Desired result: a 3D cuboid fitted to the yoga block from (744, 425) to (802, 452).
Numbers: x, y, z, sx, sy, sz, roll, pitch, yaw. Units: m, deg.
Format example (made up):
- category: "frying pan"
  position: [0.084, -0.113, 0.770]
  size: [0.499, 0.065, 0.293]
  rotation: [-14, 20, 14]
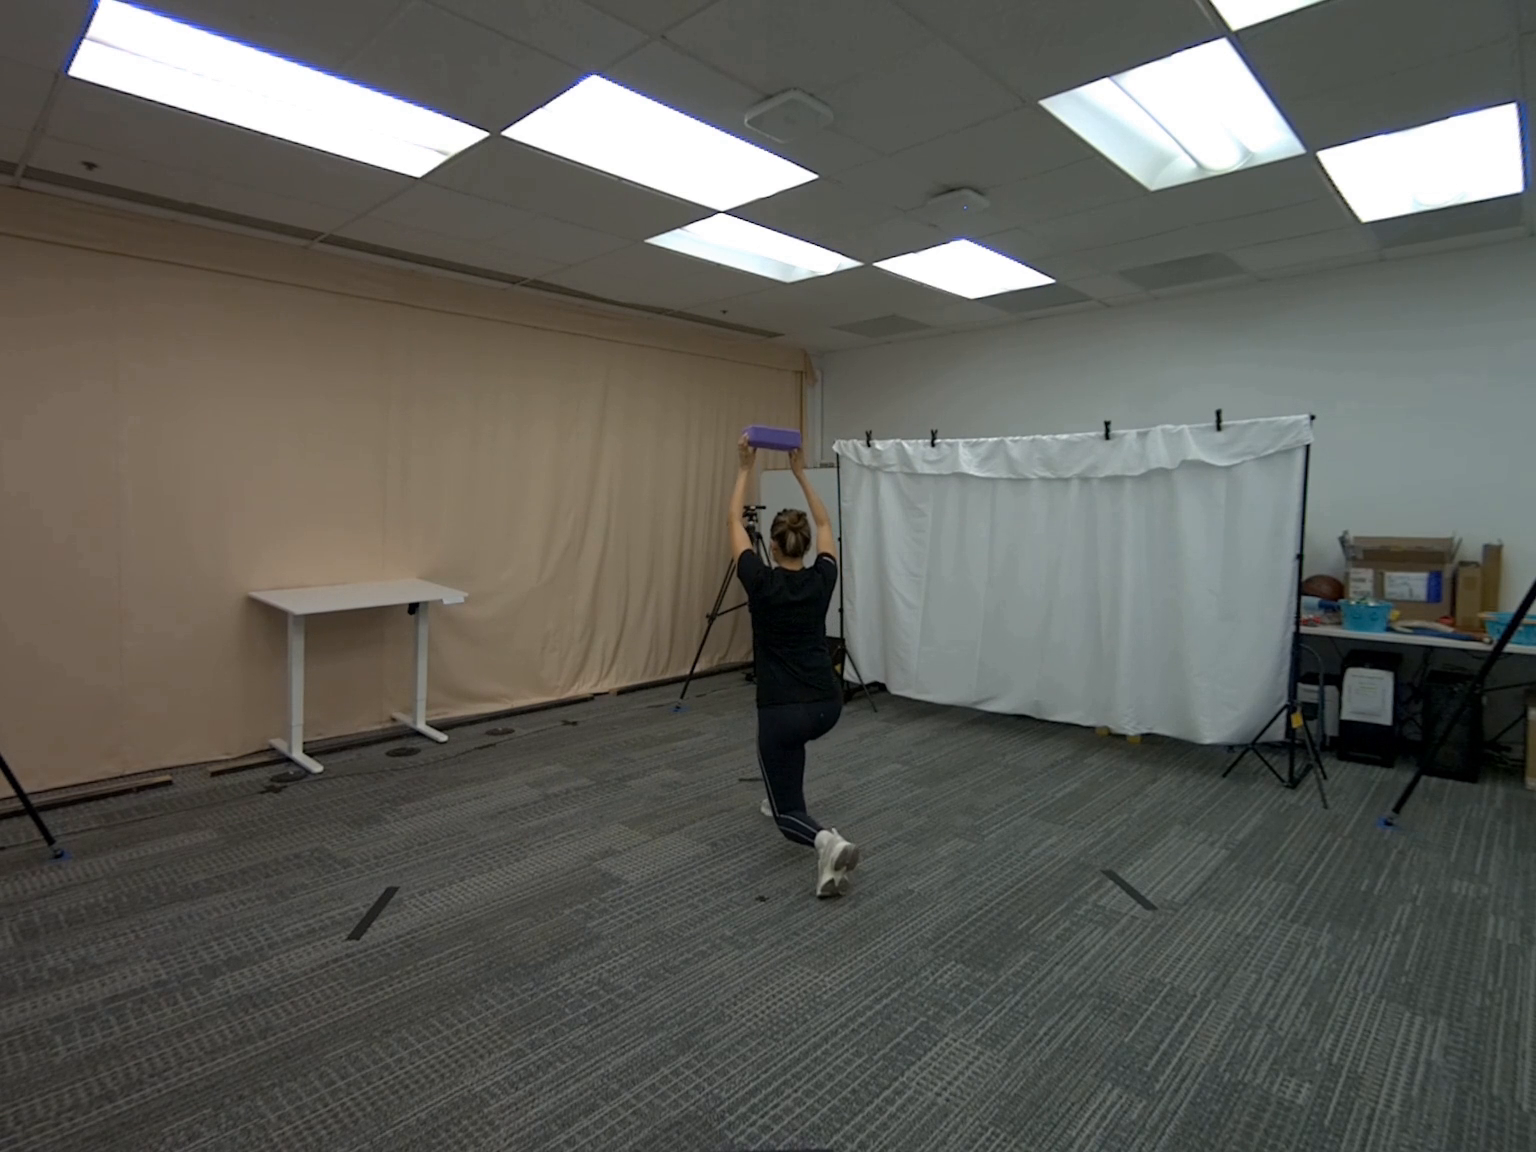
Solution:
- category: "yoga block"
  position: [0.019, -0.615, 3.694]
  size: [0.226, 0.076, 0.151]
  rotation: [5, 0, -13]
